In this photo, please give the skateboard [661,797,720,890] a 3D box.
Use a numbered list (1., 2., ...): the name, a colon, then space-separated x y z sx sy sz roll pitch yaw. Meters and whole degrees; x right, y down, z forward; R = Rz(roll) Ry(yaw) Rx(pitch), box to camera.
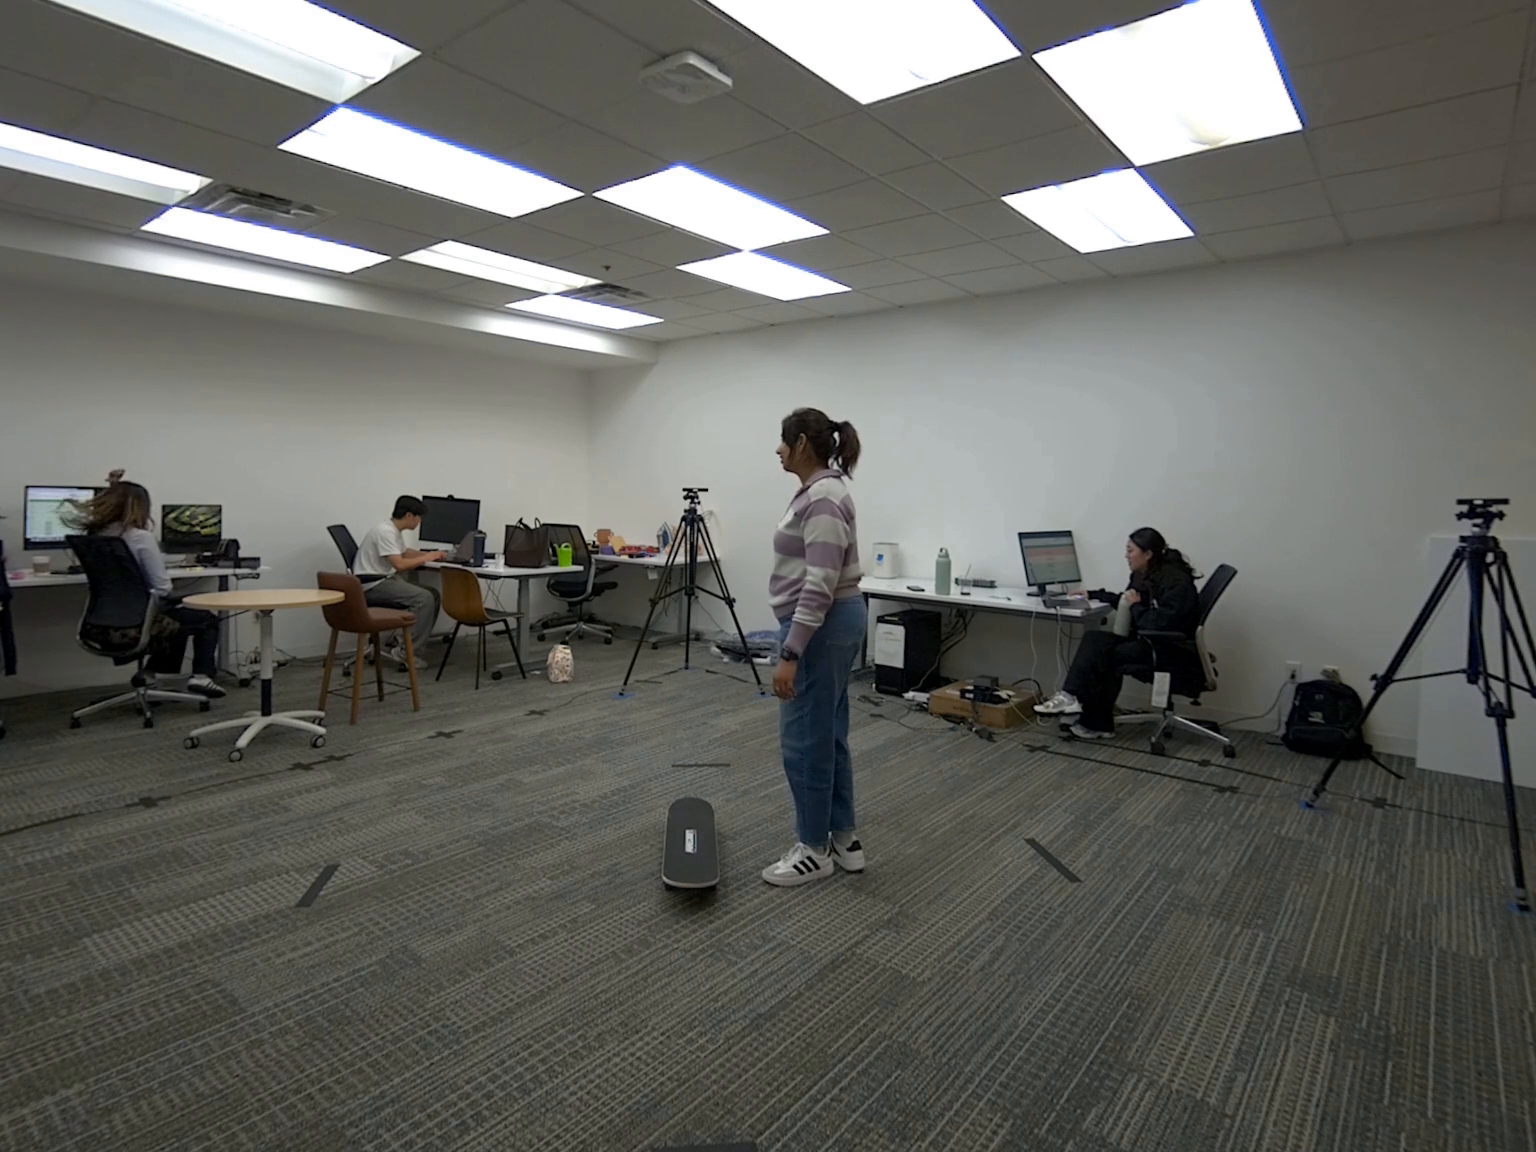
1. skateboard: -0.292 1.003 3.145 0.193 0.110 0.791 1 5 -5
